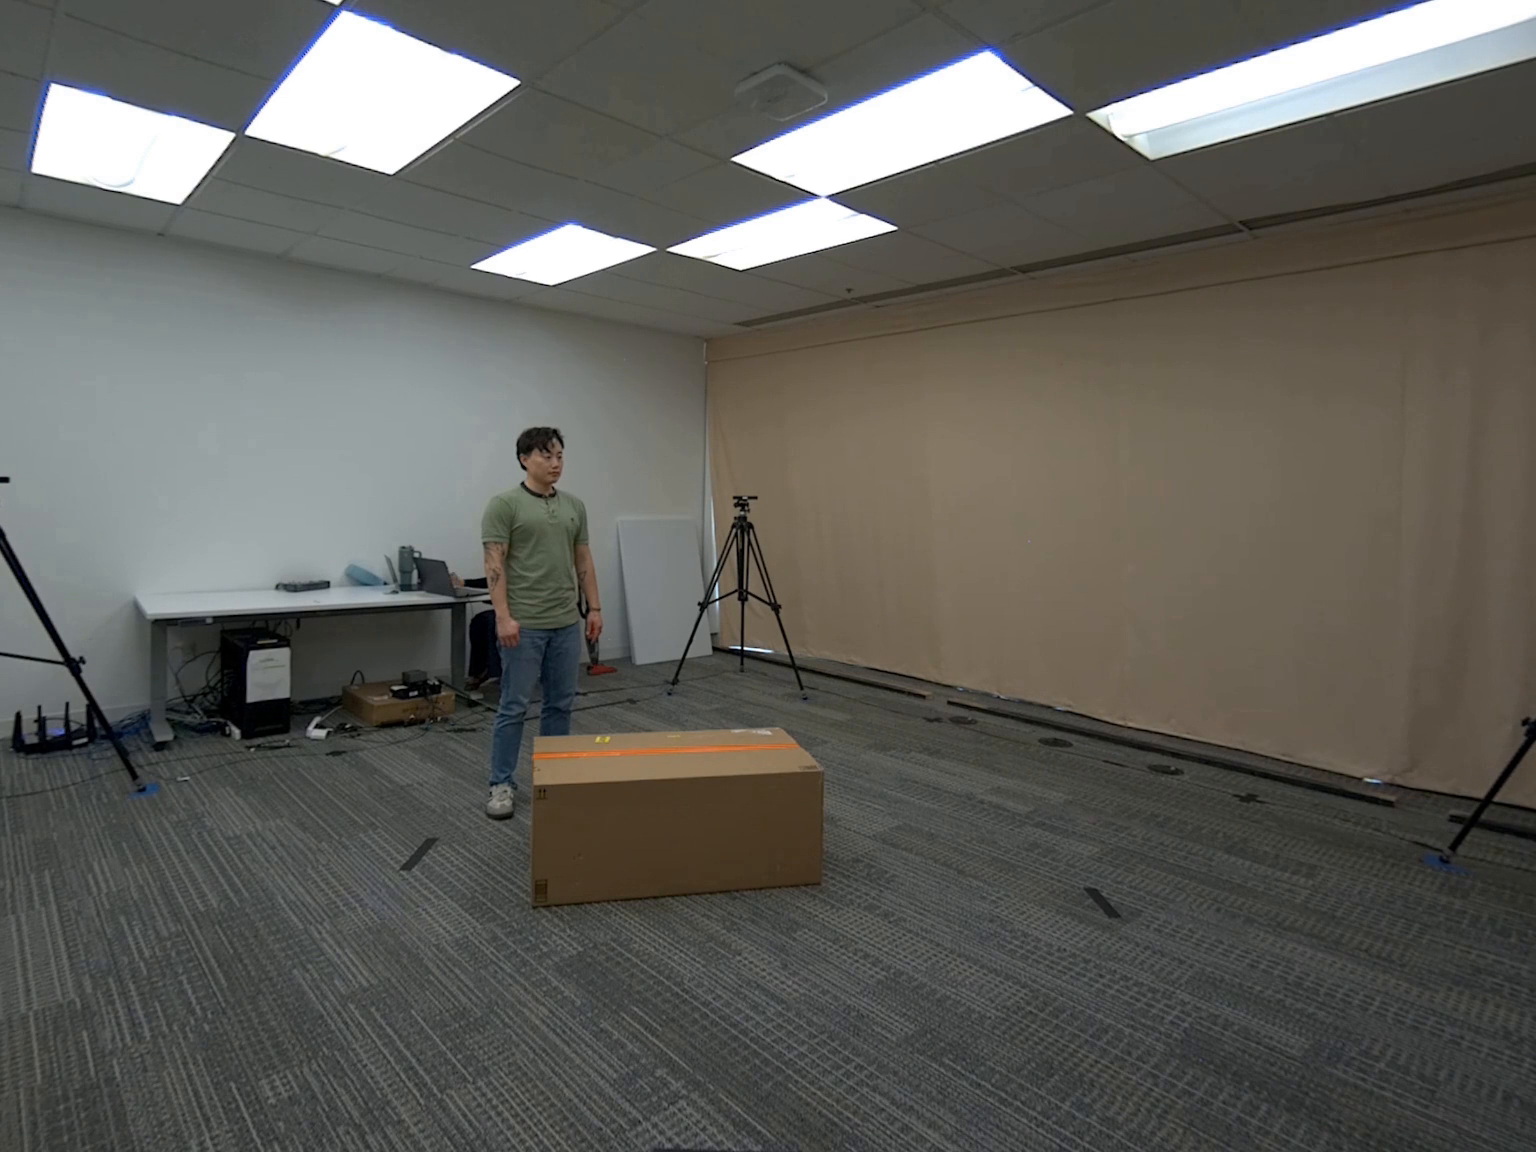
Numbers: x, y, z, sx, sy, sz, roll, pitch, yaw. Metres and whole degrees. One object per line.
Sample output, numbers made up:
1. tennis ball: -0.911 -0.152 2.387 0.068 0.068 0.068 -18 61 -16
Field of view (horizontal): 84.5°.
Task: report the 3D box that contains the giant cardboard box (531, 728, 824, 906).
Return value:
1. giant cardboard box: -0.374 0.872 3.190 1.015 0.425 0.585 0 4 -14
